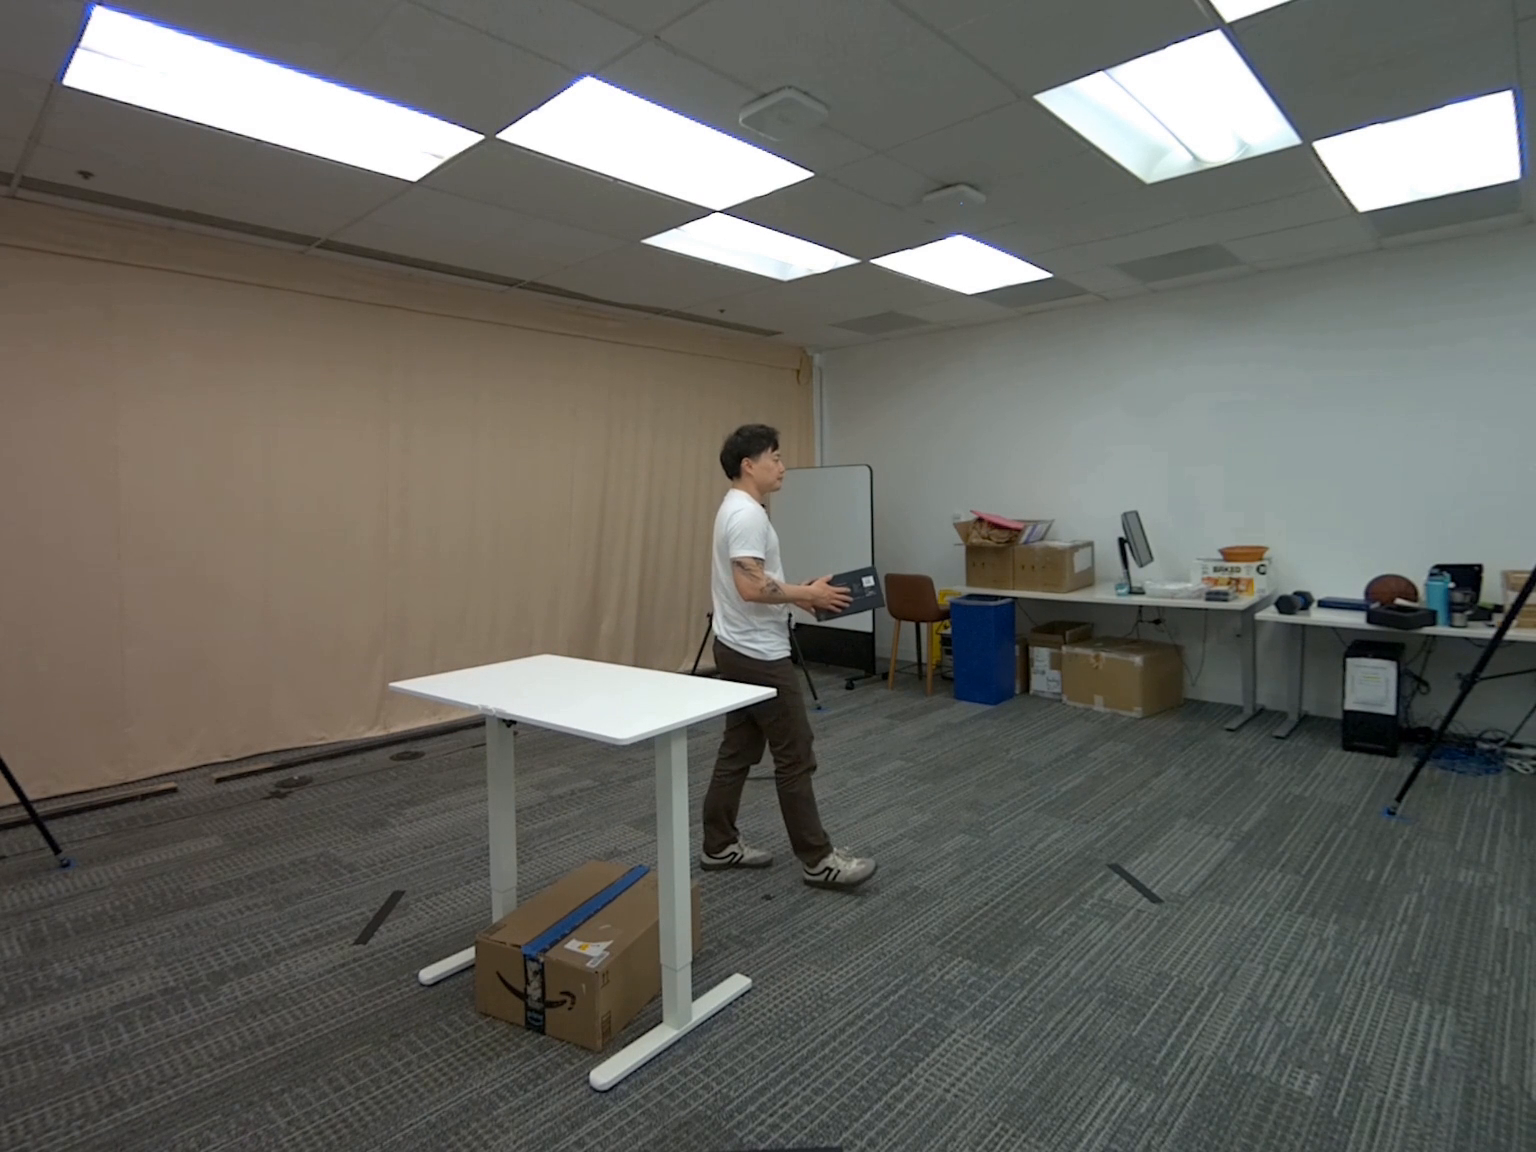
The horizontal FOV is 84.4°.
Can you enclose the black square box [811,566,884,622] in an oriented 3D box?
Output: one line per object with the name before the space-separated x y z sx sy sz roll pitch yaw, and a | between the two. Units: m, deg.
black square box | 0.307 0.060 3.187 0.217 0.156 0.227 -8 -2 -1
